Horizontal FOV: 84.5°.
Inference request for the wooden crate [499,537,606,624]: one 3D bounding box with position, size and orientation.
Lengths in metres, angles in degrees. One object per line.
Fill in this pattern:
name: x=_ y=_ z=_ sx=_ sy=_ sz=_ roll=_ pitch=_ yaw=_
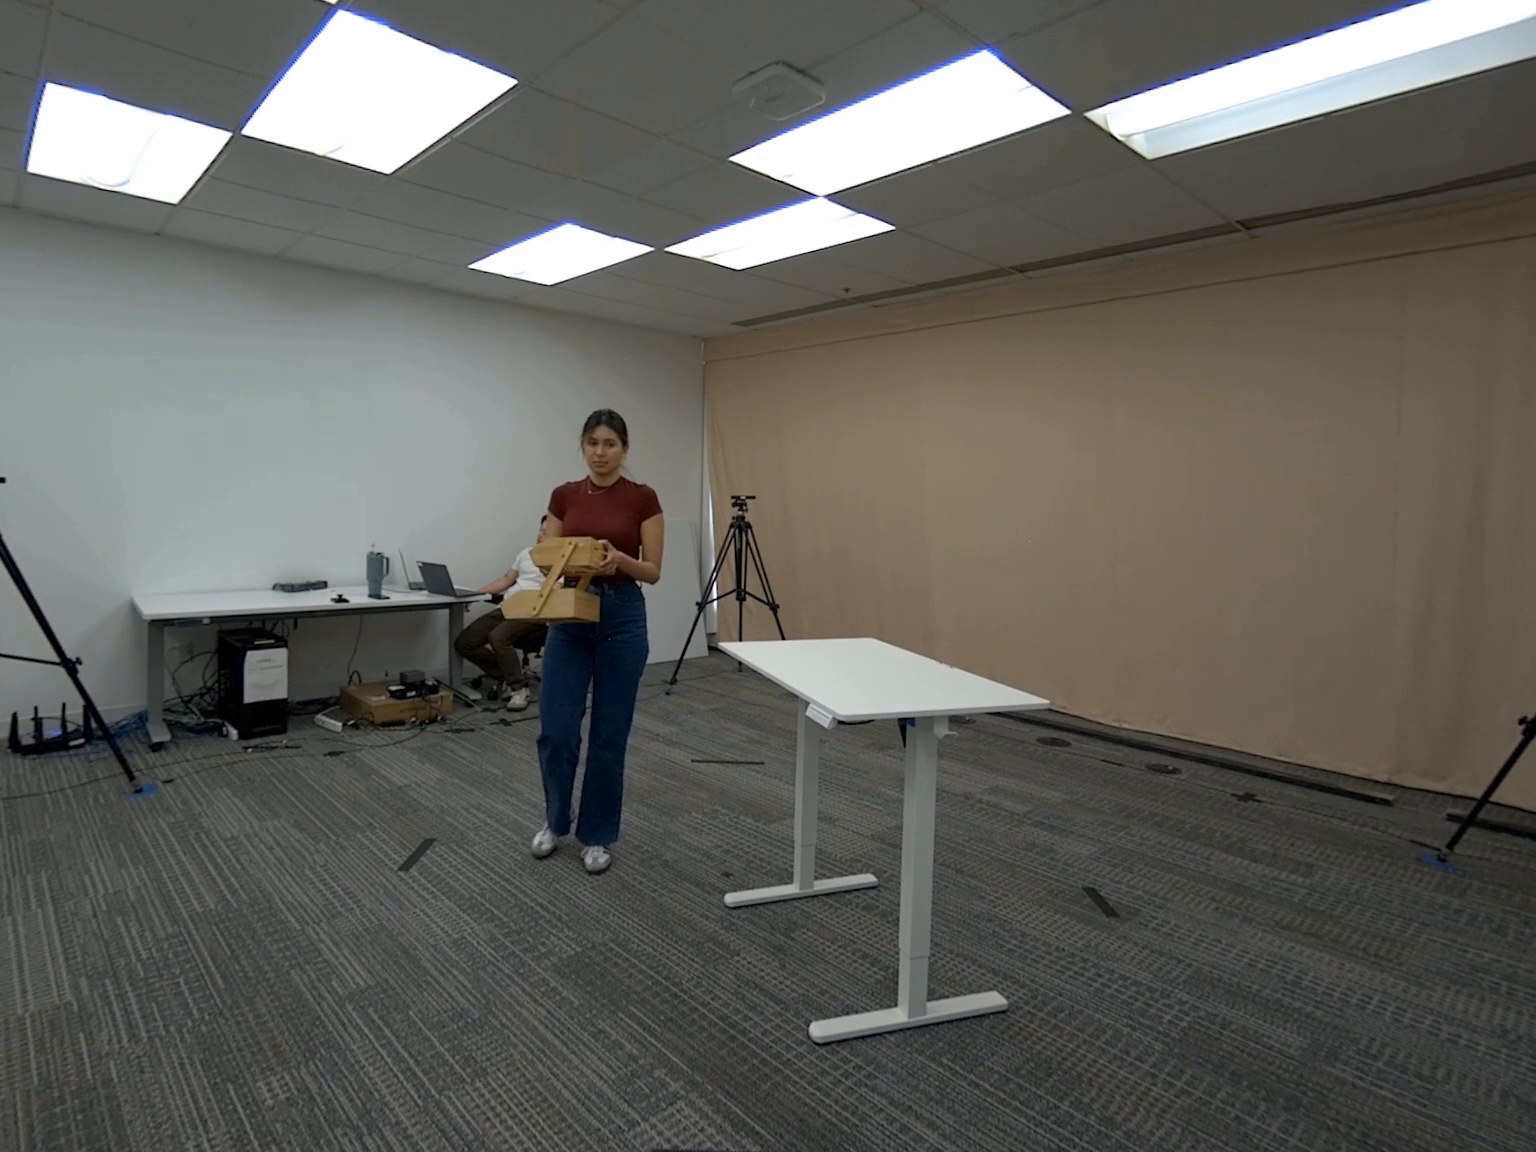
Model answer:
wooden crate: x=-0.723 y=0.023 z=2.886 sx=0.304 sy=0.275 sz=0.320 roll=-4 pitch=-7 yaw=7
